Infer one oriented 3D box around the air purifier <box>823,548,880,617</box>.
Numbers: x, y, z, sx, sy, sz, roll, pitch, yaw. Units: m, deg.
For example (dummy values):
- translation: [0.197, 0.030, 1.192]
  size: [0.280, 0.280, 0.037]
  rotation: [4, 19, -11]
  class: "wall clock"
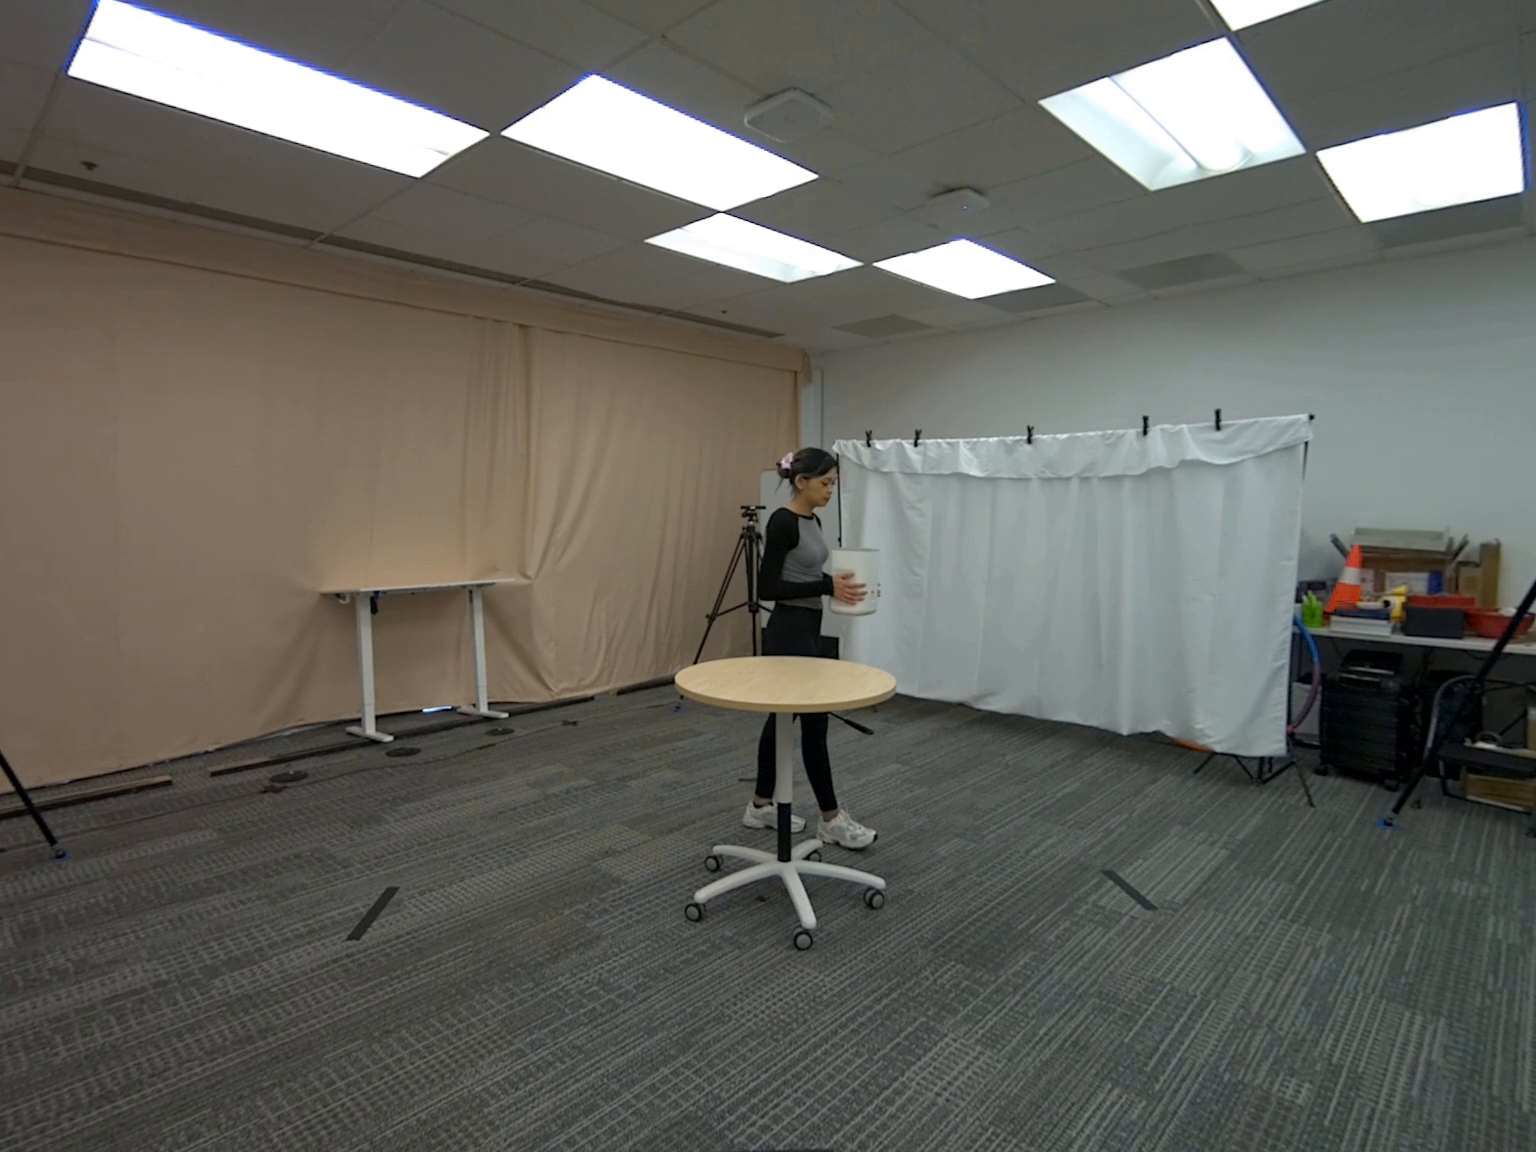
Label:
- translation: [0.355, 0.021, 3.423]
  size: [0.176, 0.265, 0.166]
  rotation: [3, 4, 30]
  class: "air purifier"
